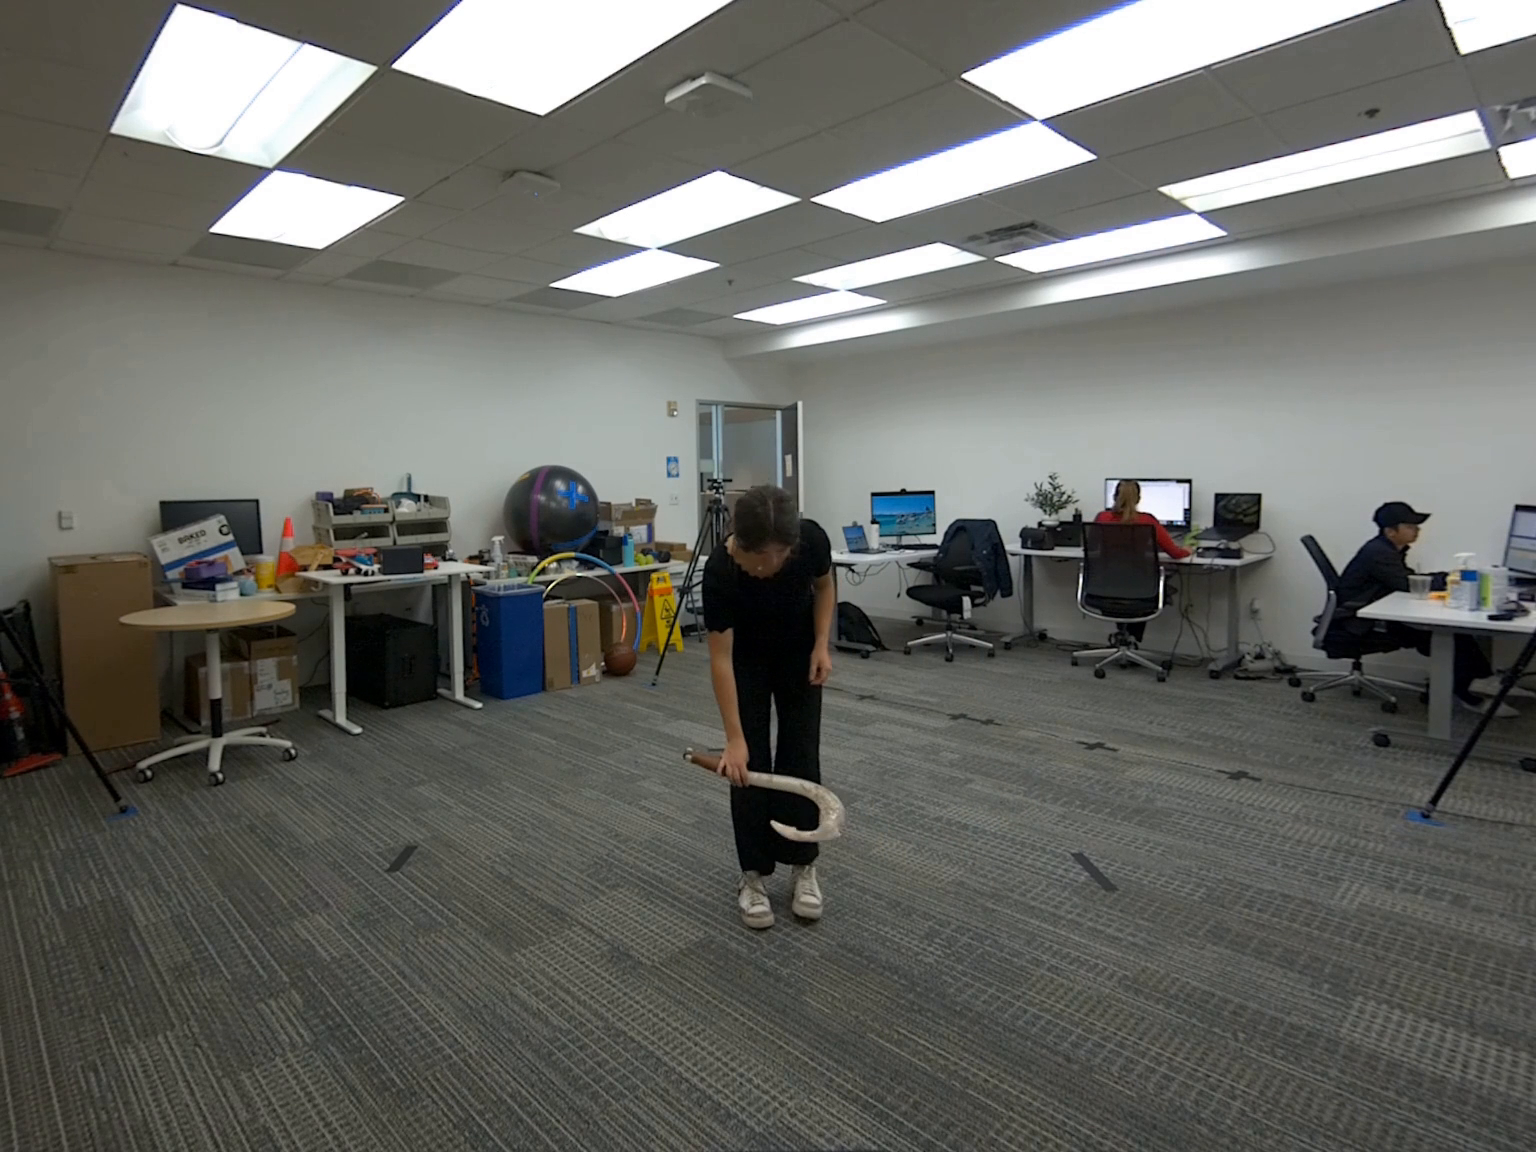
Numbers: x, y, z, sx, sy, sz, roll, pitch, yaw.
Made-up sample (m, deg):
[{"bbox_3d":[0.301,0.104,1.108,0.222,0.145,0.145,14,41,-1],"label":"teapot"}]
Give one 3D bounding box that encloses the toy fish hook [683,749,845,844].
[{"bbox_3d":[-0.028,0.637,2.493,0.512,0.047,0.226,16,29,9],"label":"toy fish hook"}]
